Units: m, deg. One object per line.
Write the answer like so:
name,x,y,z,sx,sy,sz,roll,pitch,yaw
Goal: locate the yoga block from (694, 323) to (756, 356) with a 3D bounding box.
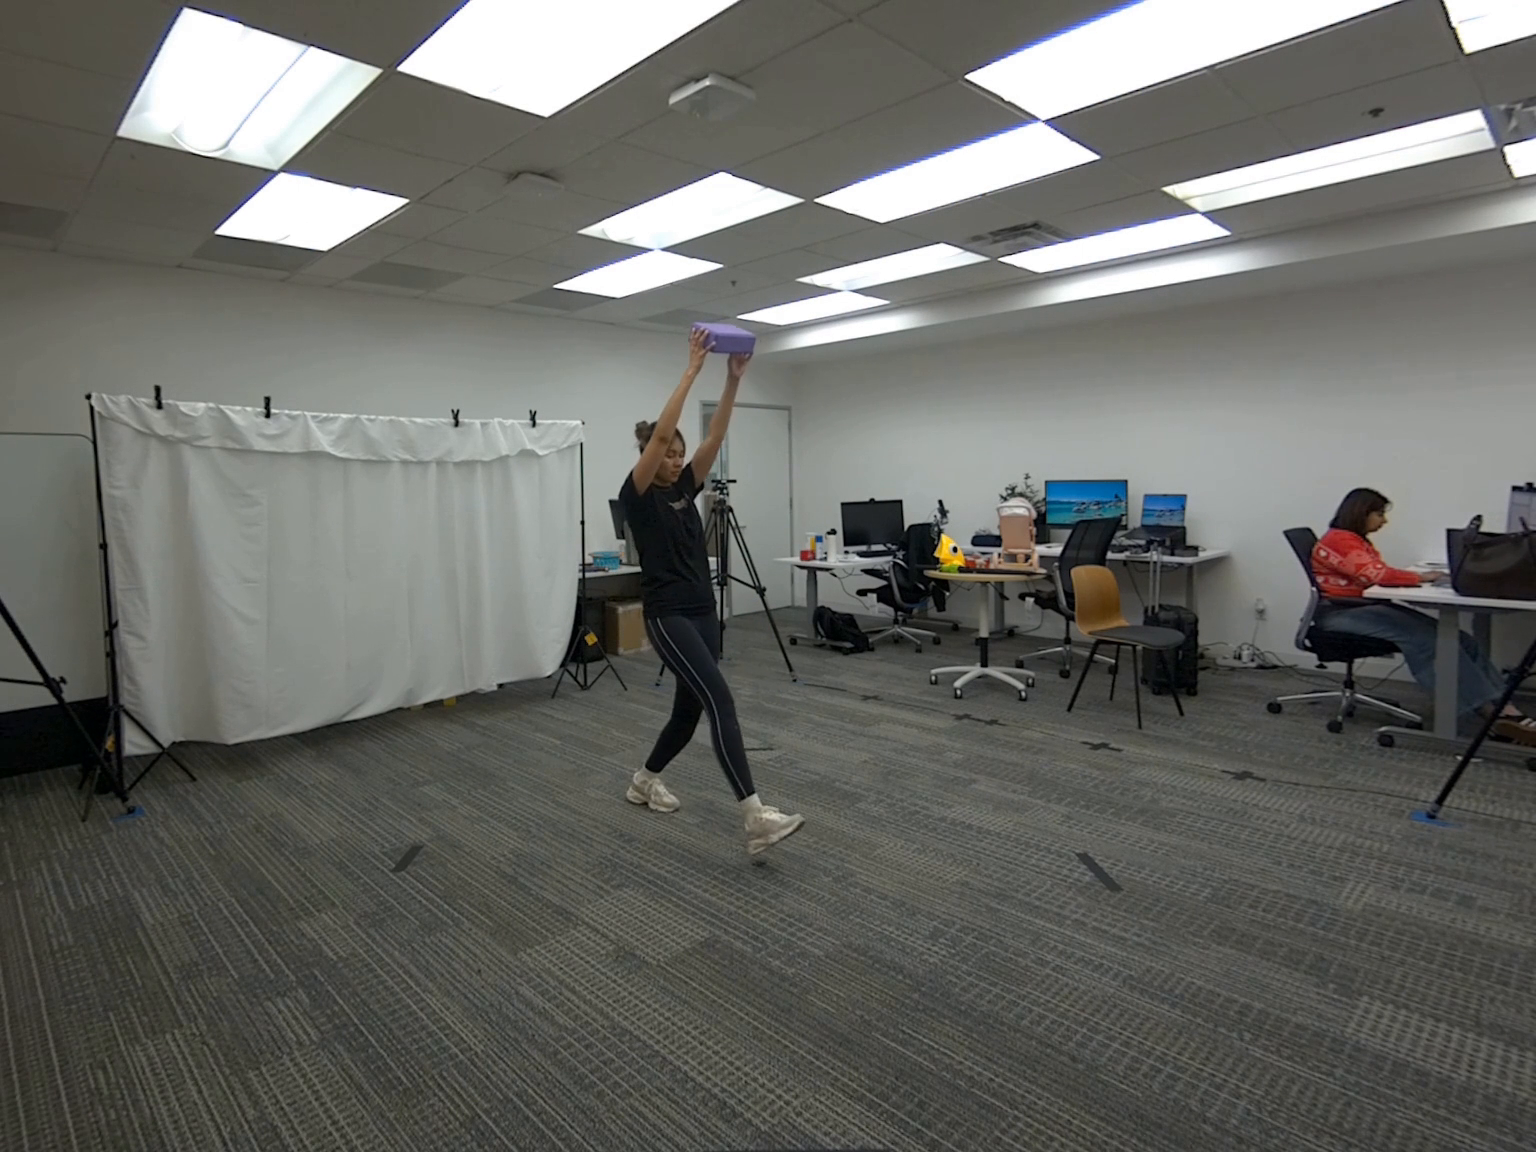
yoga block,-0.171,-0.908,3.270,0.154,0.075,0.224,34,30,32
